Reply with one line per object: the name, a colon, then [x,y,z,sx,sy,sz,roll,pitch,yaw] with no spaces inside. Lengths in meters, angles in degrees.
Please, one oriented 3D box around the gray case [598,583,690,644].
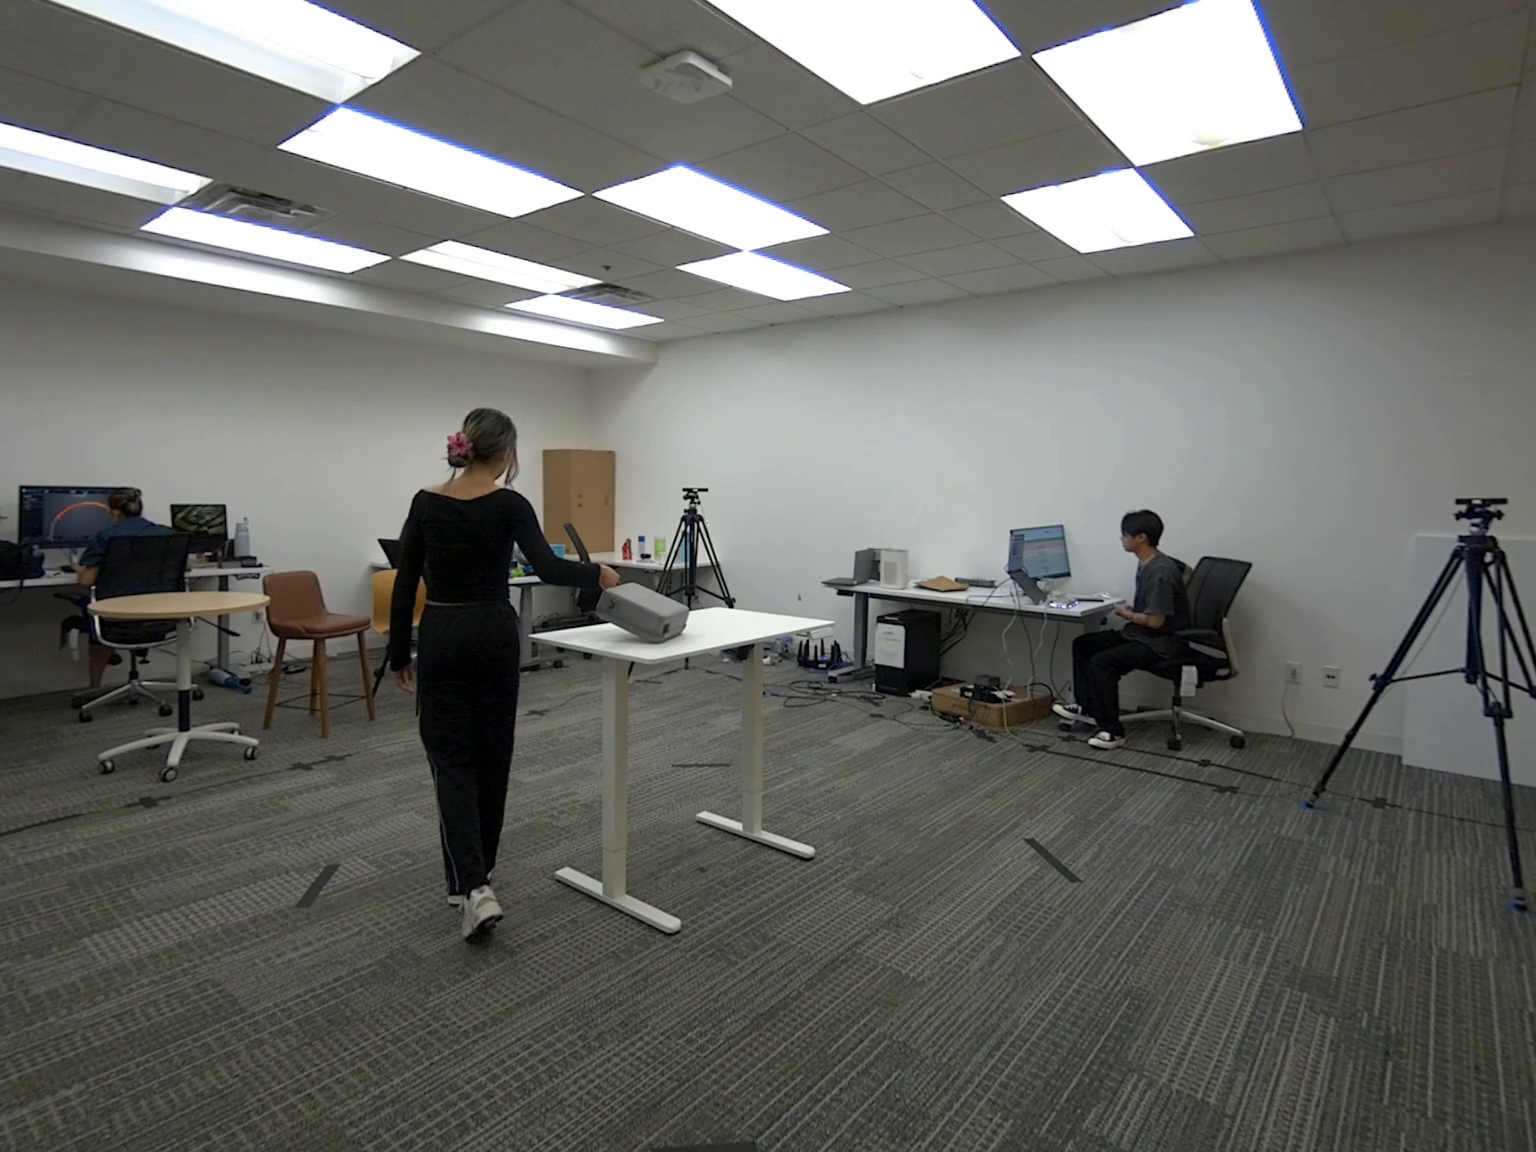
gray case: [-0.427,0.120,2.888,0.265,0.104,0.254,22,9,11]
